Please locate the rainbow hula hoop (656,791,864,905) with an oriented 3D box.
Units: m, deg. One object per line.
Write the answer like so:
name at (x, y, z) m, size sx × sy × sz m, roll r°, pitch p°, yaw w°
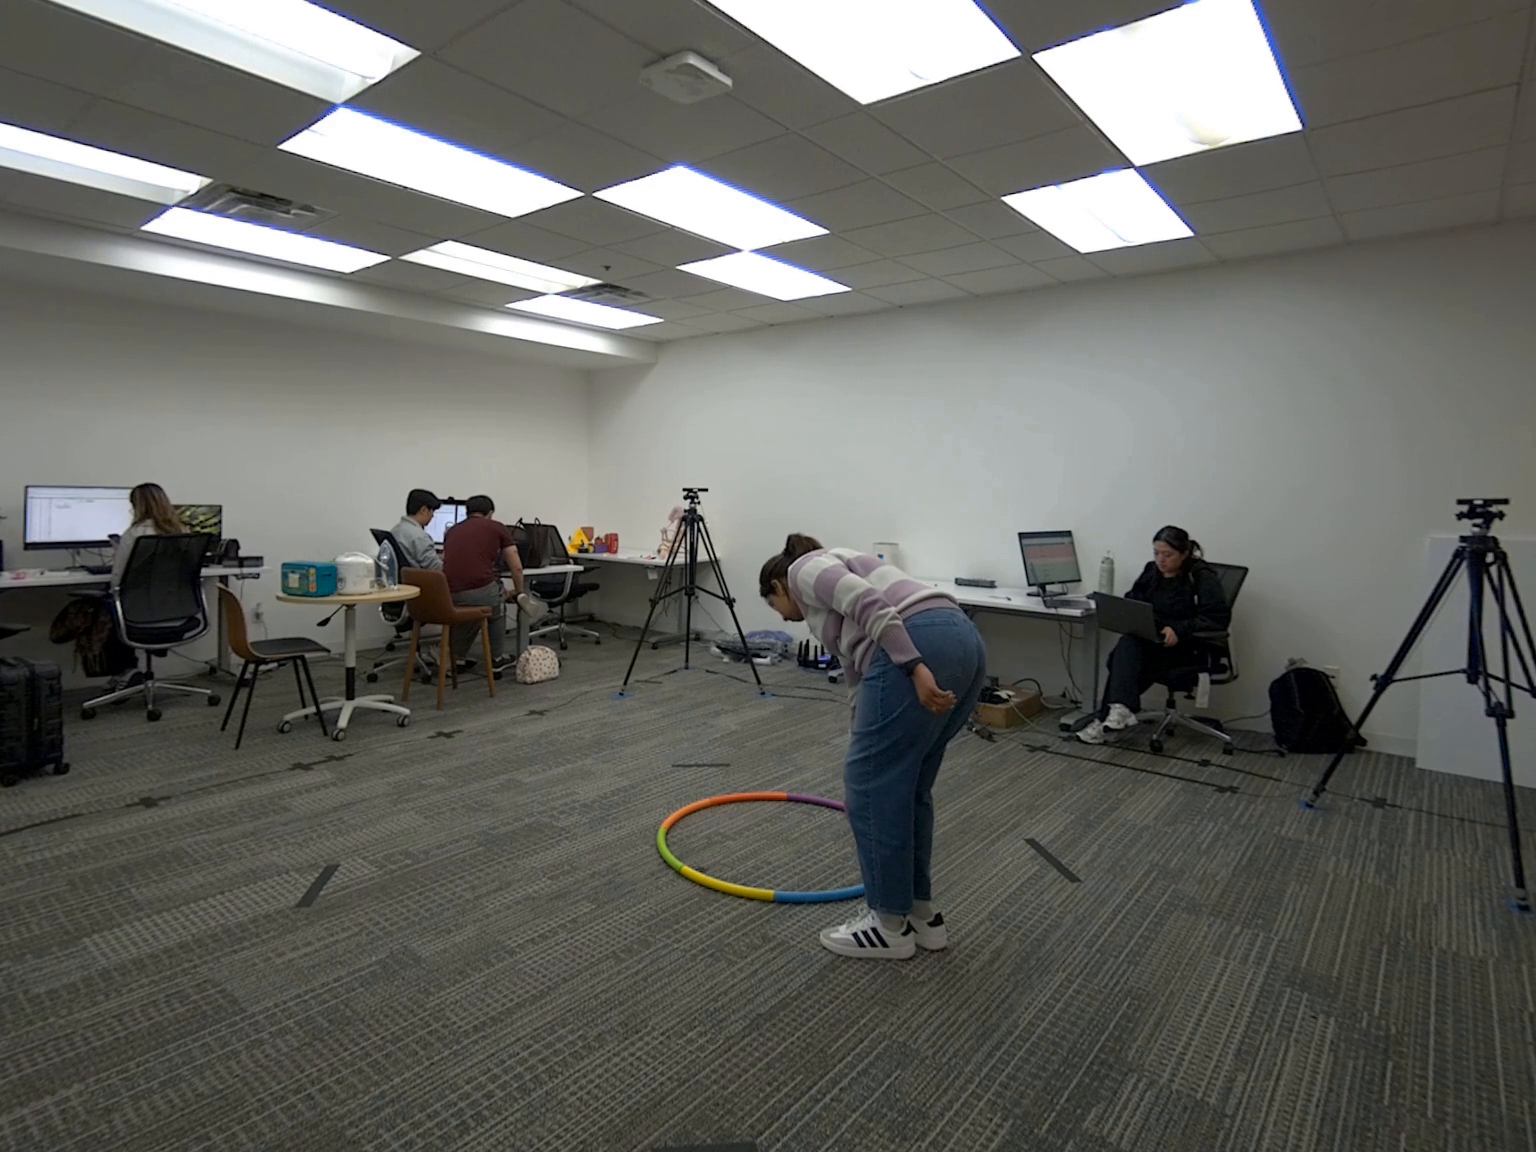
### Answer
rainbow hula hoop at (0.041, 1.025, 3.345) m, size 0.984 × 0.051 × 0.991 m, roll 1°, pitch 6°, yaw -2°
